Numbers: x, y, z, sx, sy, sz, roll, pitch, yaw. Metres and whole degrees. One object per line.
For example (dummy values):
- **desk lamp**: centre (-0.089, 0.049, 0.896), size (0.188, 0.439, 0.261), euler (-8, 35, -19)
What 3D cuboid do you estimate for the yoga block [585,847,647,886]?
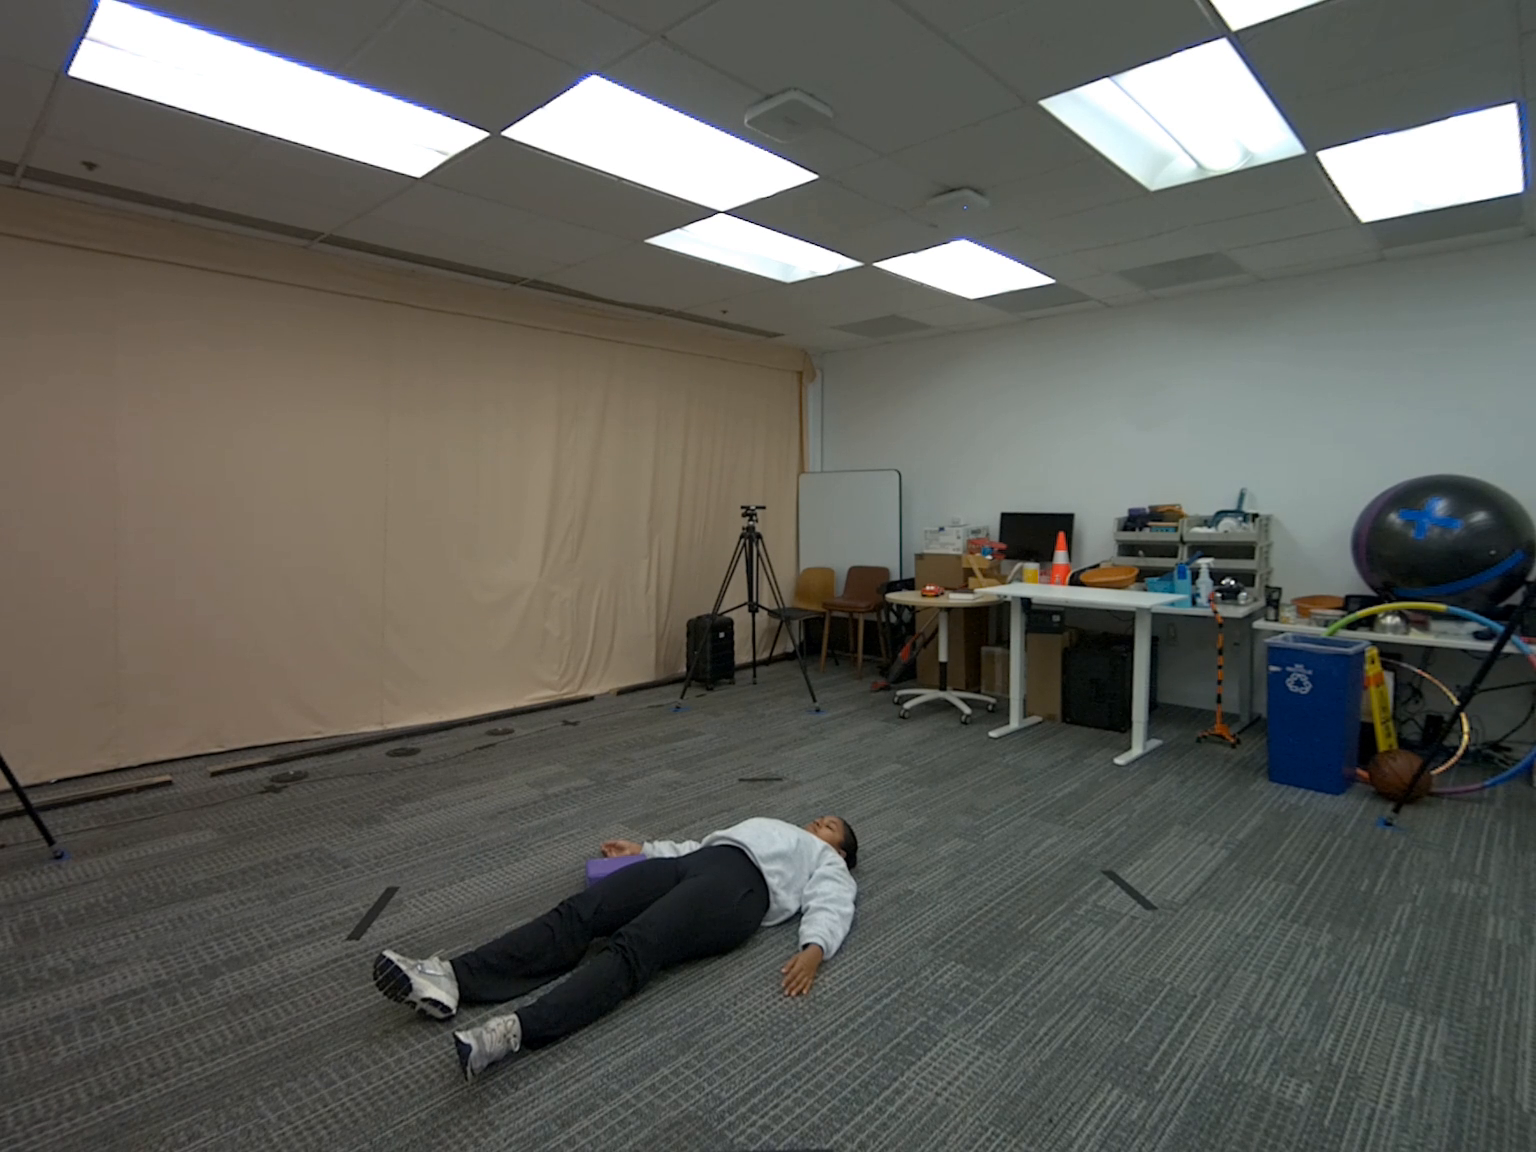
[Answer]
- **yoga block**: centre (-0.555, 1.103, 3.101), size (0.226, 0.076, 0.151), euler (-1, 5, -13)
